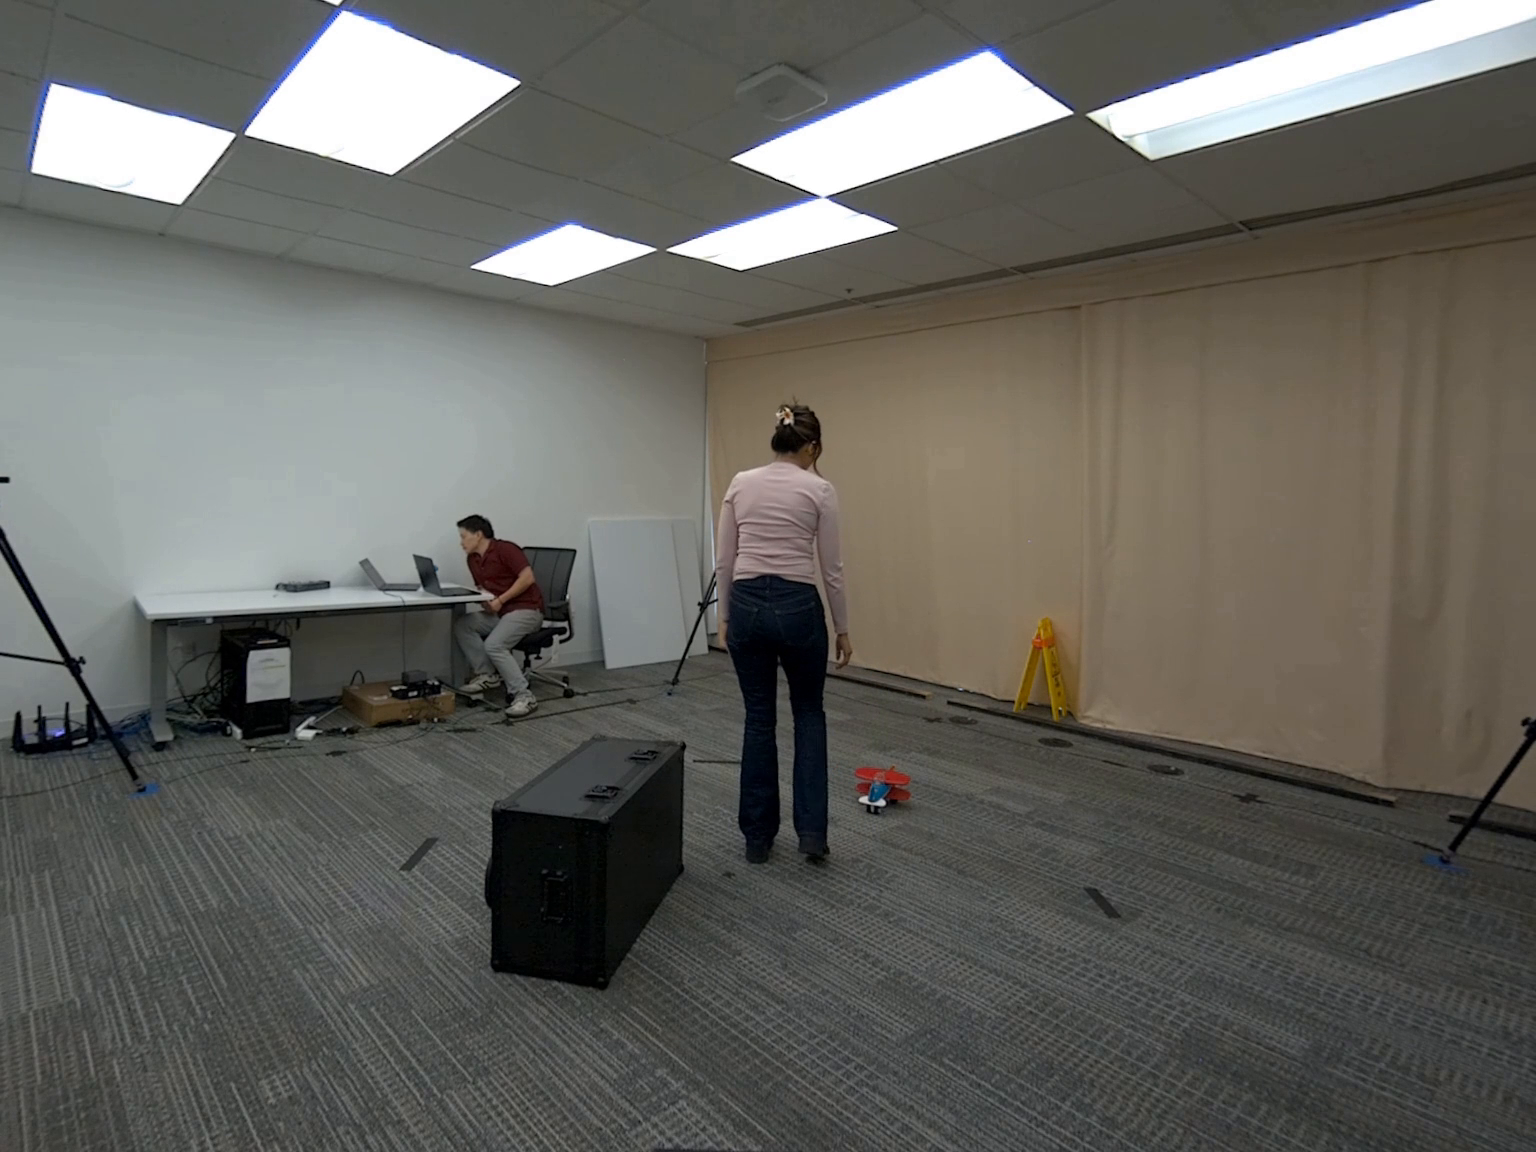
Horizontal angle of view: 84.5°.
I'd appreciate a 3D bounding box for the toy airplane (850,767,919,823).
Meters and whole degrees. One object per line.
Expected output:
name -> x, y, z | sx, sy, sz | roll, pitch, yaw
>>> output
toy airplane -> 0.523, 0.987, 3.838 | 0.251, 0.156, 0.260 | 2, 4, -3
